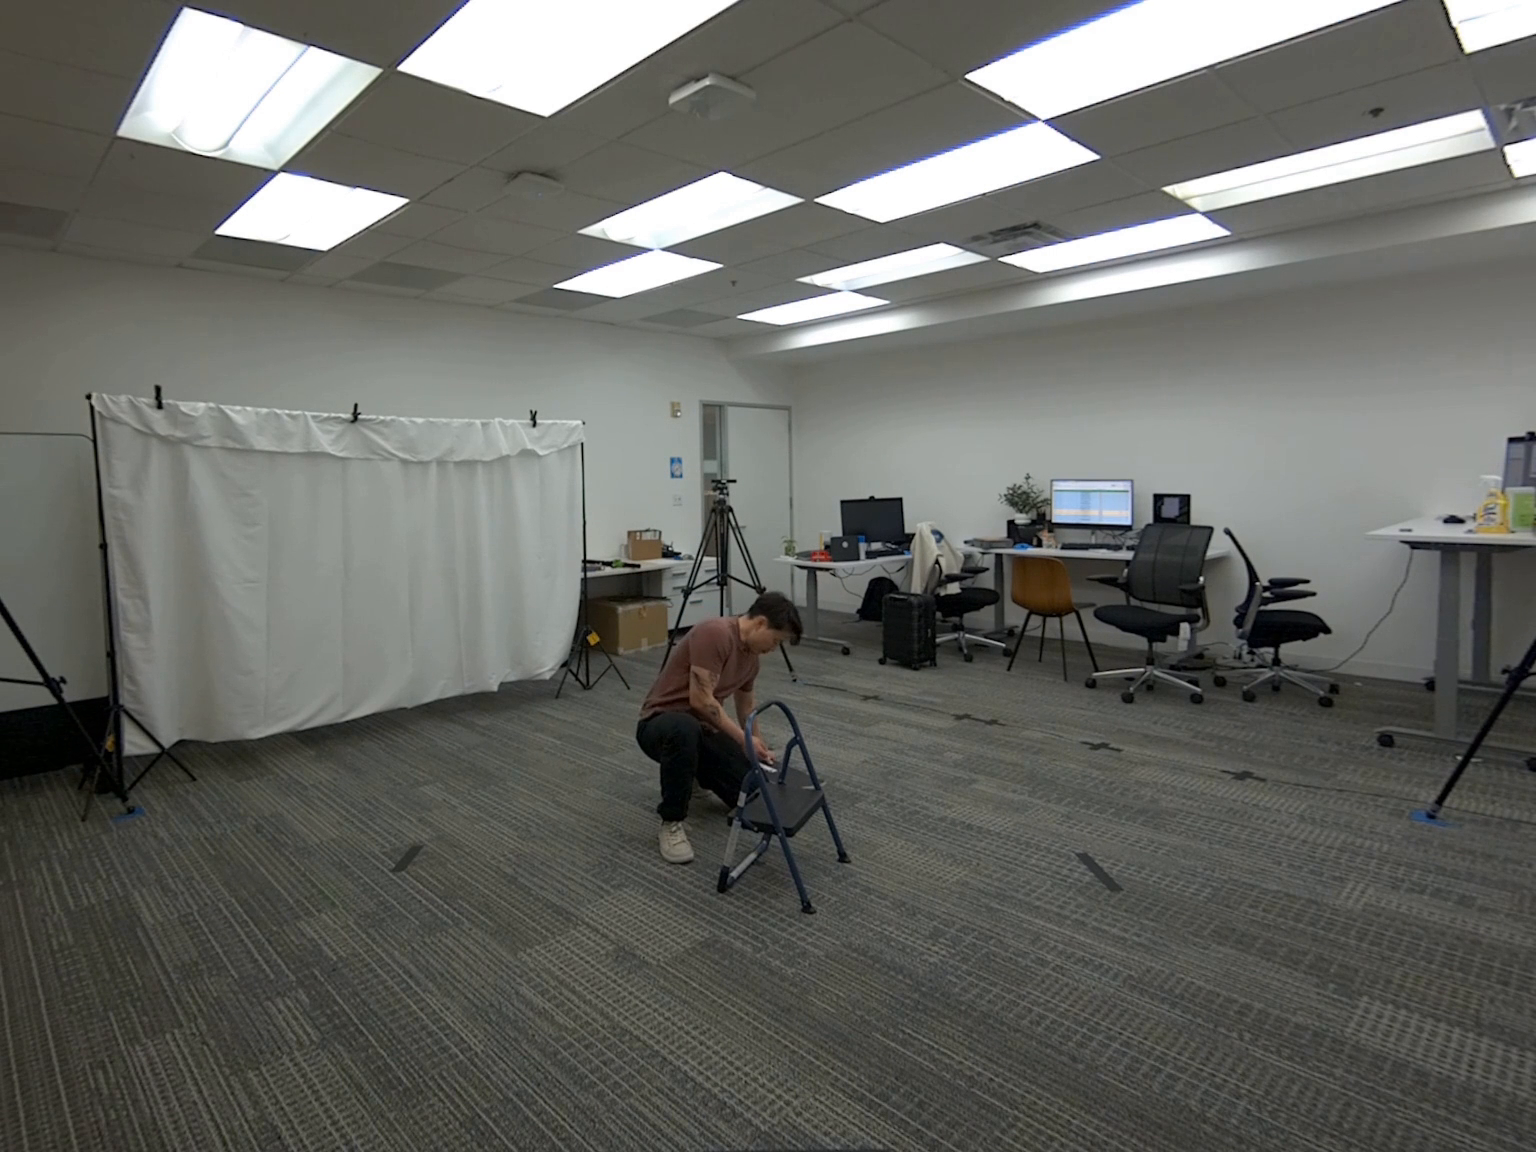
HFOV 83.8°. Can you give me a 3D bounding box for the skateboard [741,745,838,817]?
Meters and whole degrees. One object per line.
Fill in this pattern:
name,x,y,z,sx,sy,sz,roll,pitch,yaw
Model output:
skateboard,-0.024,0.902,3.914,0.188,0.110,0.809,-3,6,-36
